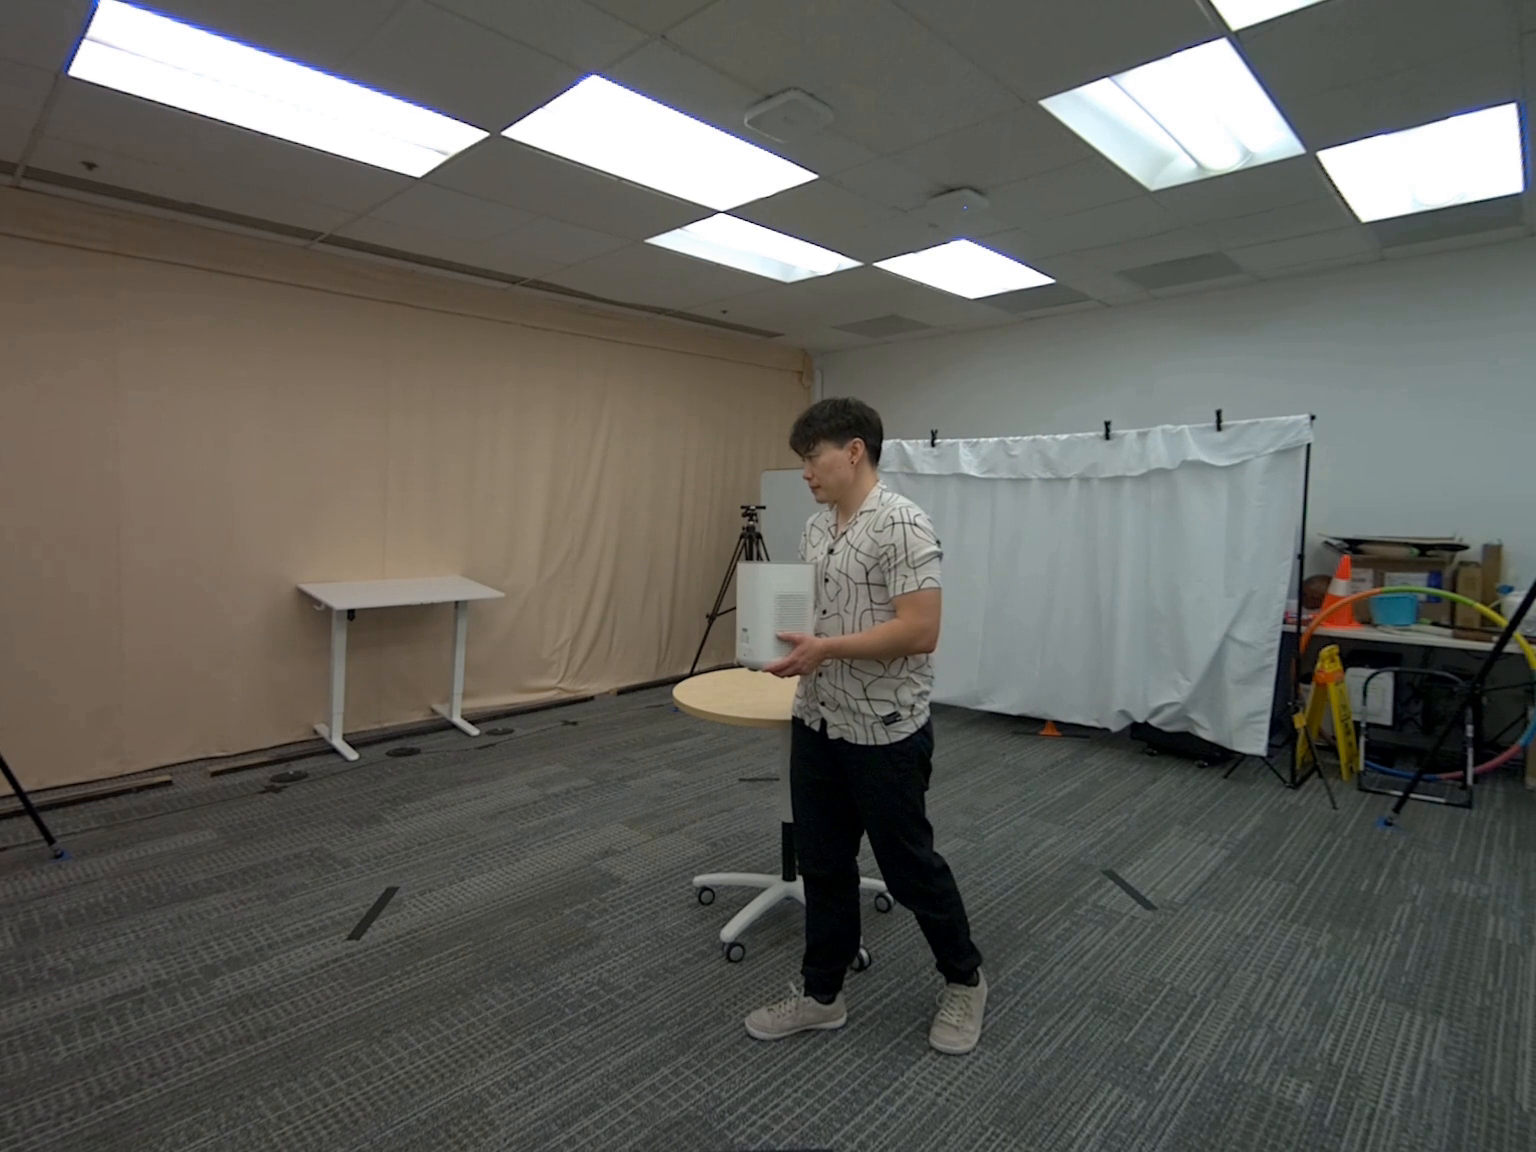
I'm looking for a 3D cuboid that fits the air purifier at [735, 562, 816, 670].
[{"bbox_3d":[0.029,0.104,2.112,0.167,0.265,0.176,3,1,-30],"label":"air purifier"}]
